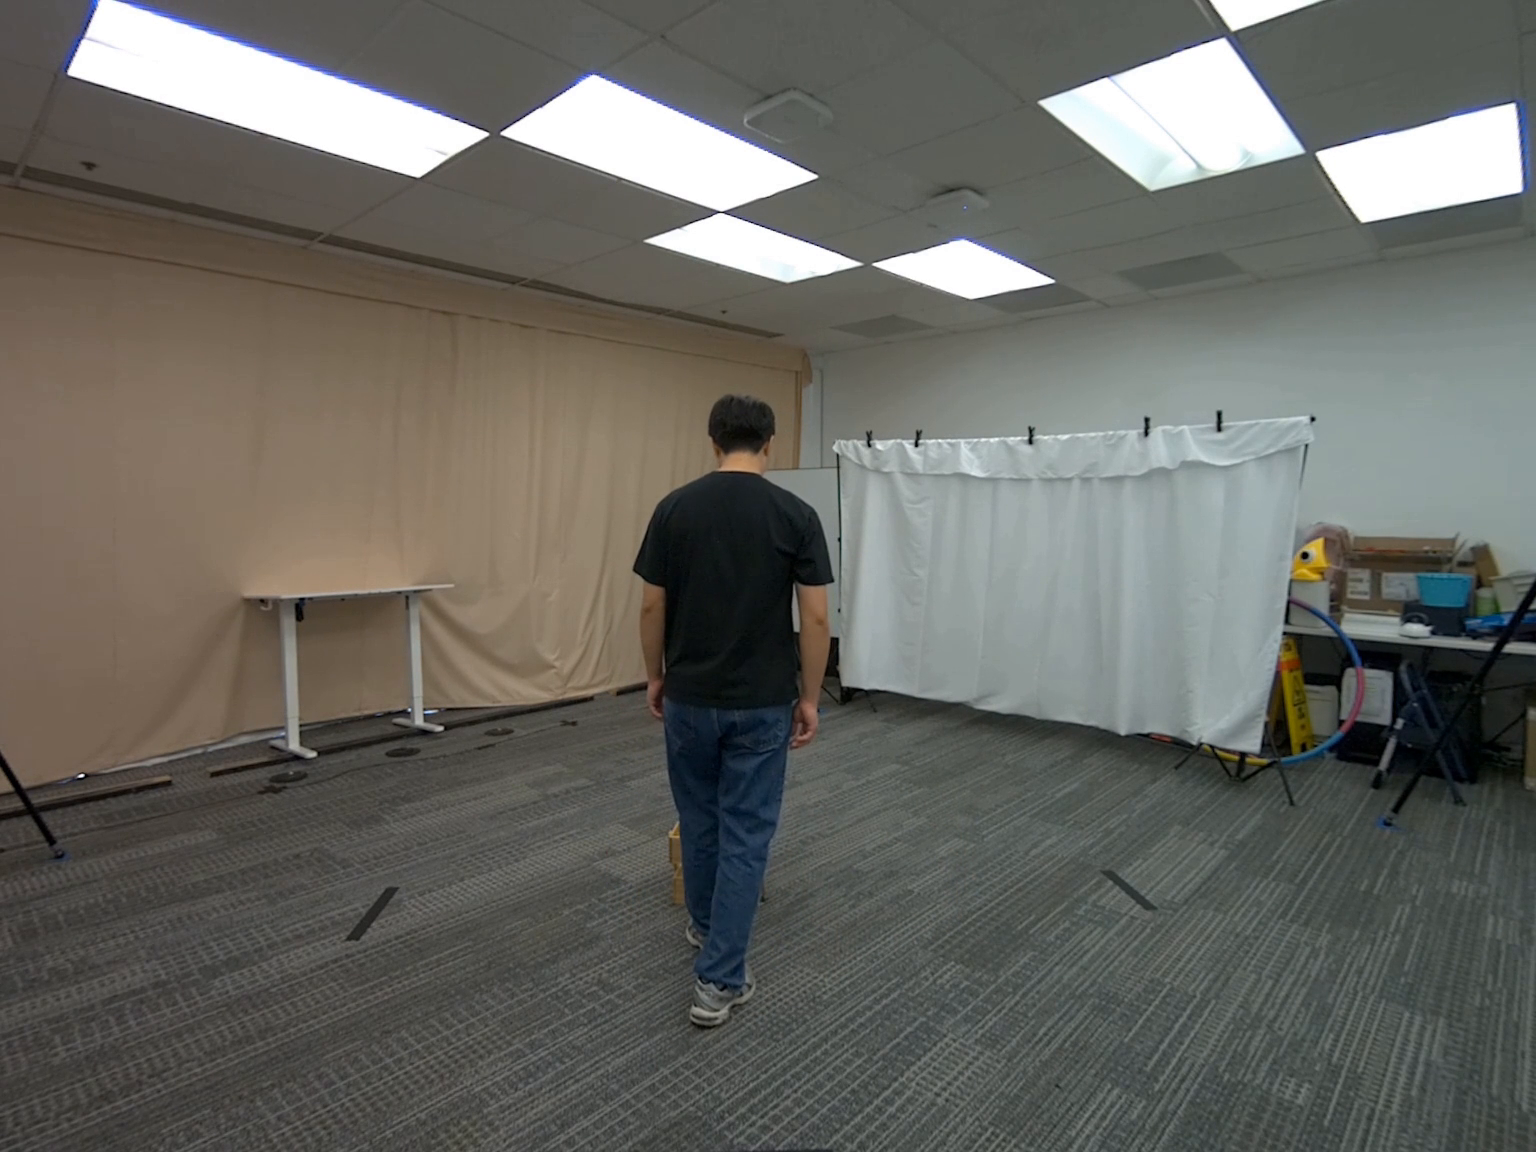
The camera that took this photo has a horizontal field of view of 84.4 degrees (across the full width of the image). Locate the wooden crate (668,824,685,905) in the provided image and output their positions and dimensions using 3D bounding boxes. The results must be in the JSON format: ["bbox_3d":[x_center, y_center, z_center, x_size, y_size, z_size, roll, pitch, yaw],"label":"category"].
[{"bbox_3d":[-0.173,1.010,3.008,0.327,0.272,0.300,0,4,8],"label":"wooden crate"}]
